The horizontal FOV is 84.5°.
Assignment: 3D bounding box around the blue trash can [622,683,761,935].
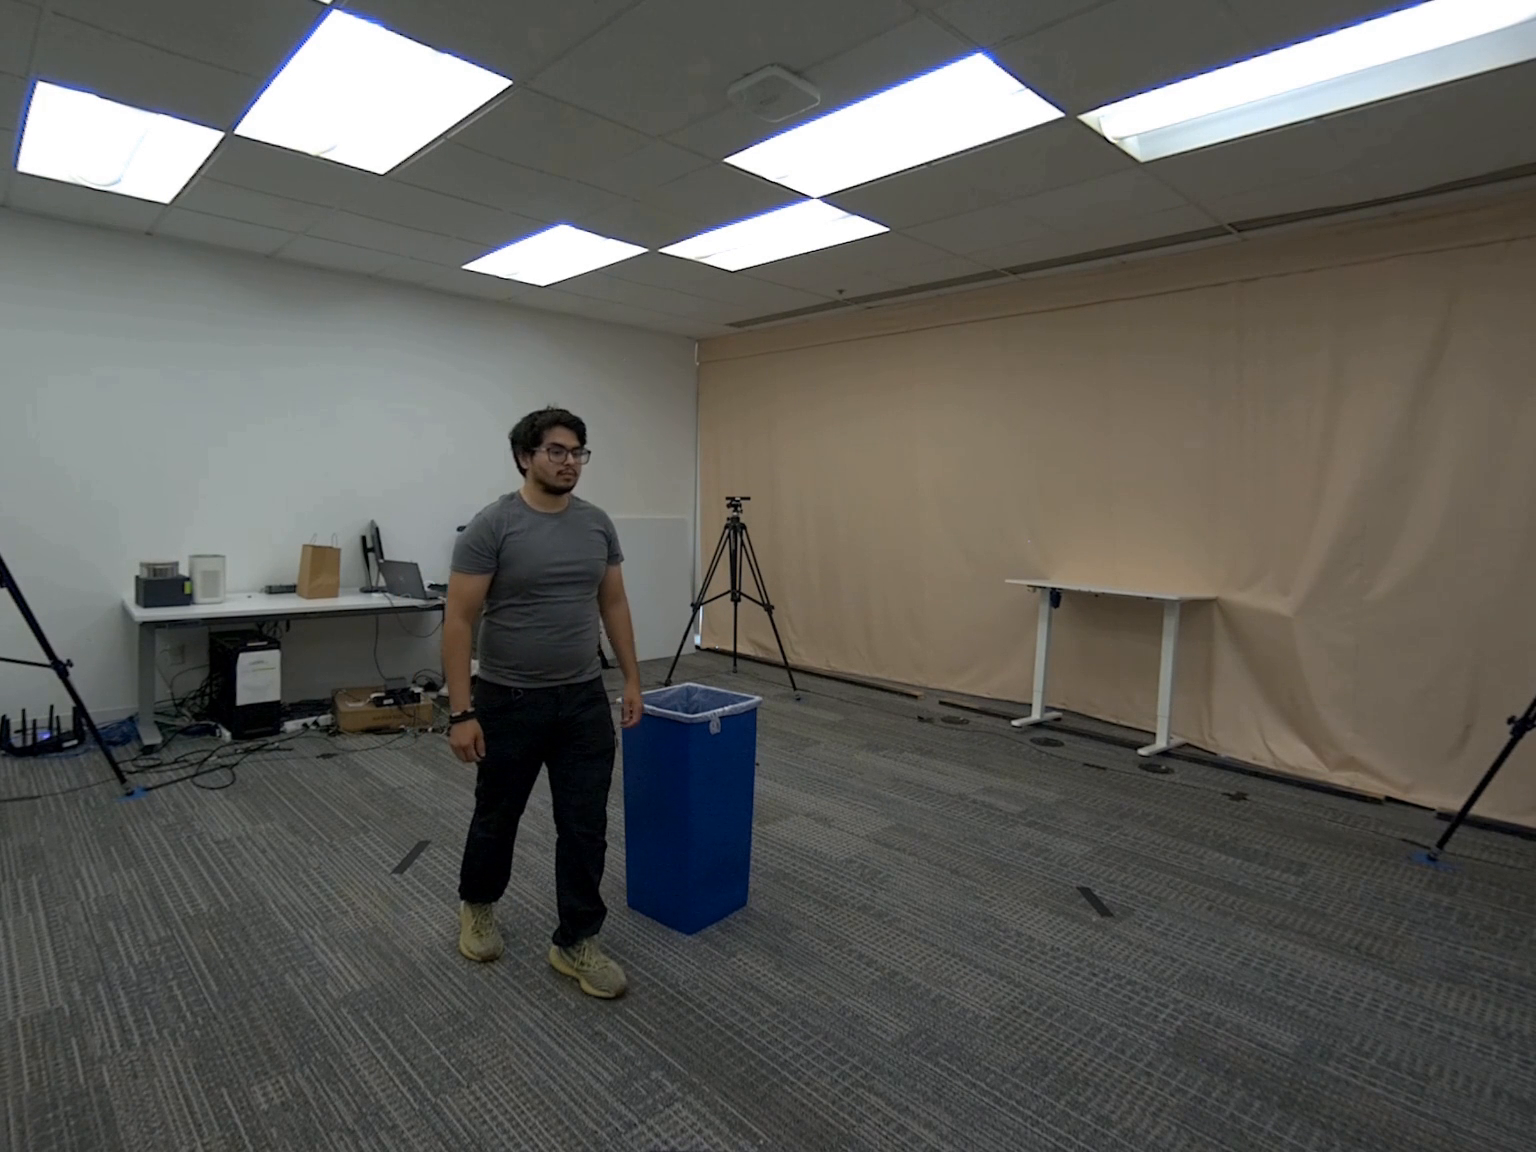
[{"bbox_3d":[-0.280,0.768,2.862,0.383,0.712,0.369,4,4,39],"label":"blue trash can"}]
